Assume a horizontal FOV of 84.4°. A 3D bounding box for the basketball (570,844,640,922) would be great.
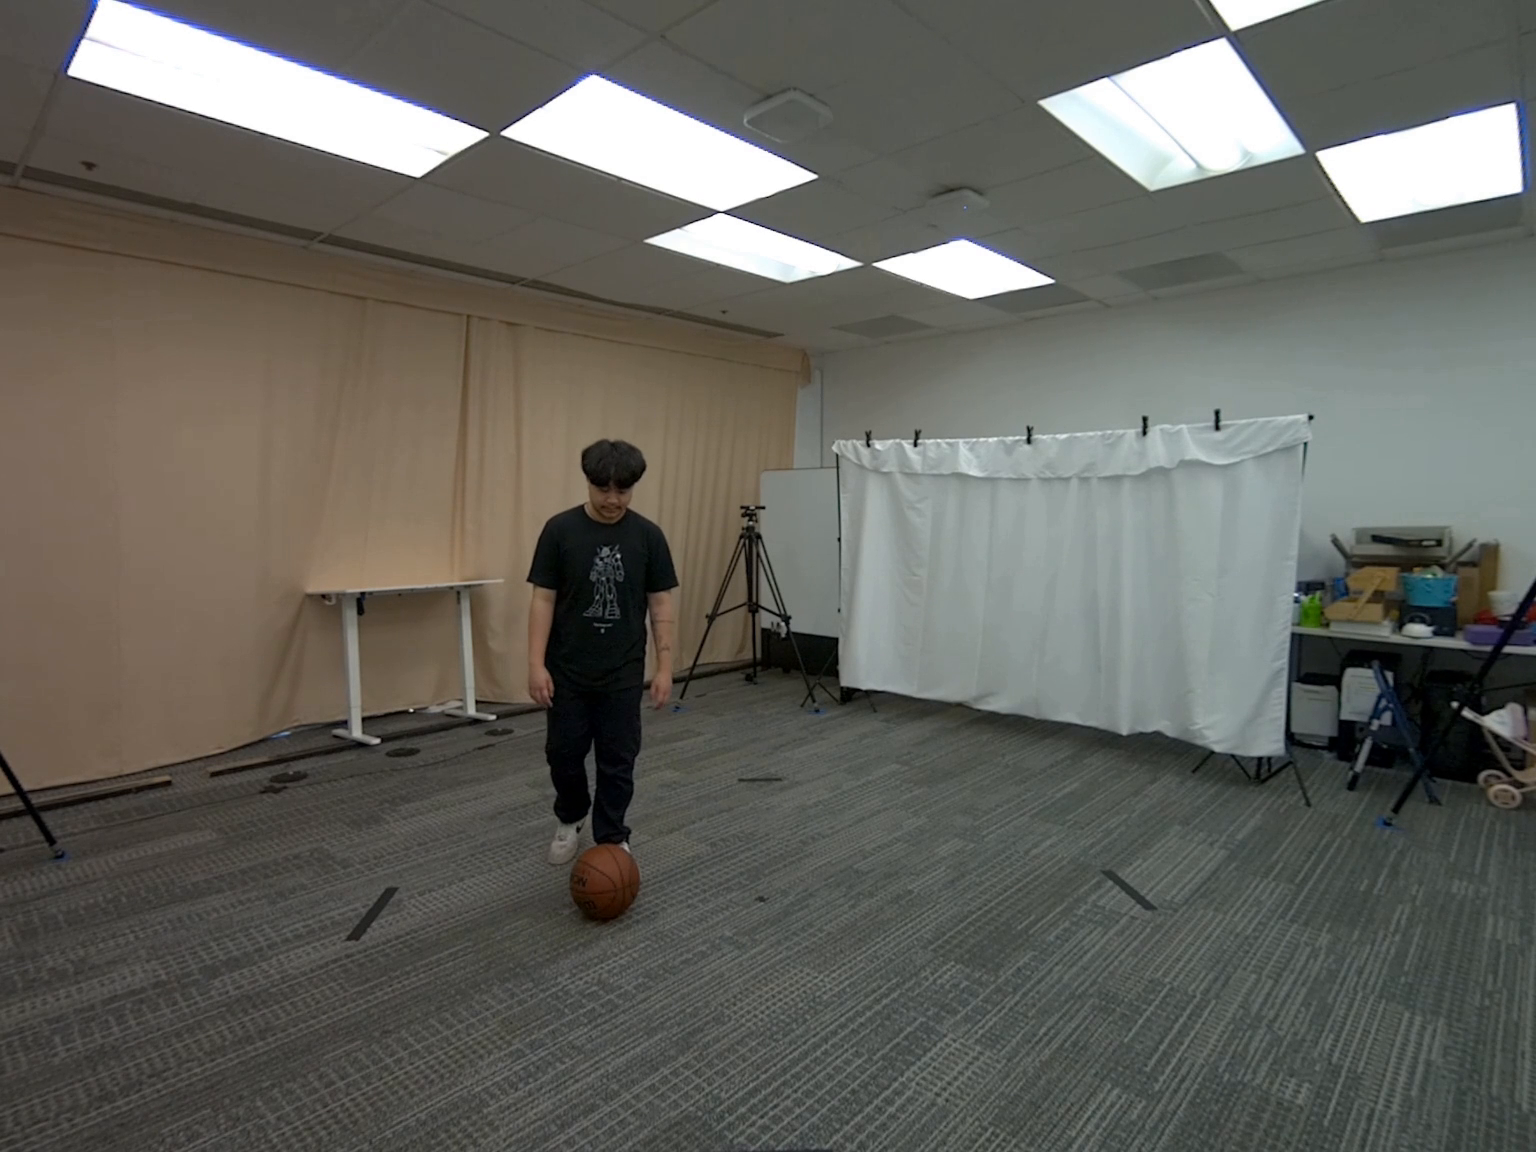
[{"bbox_3d":[-0.550,1.035,2.873,0.236,0.235,0.237,0,4,-2],"label":"basketball"}]
